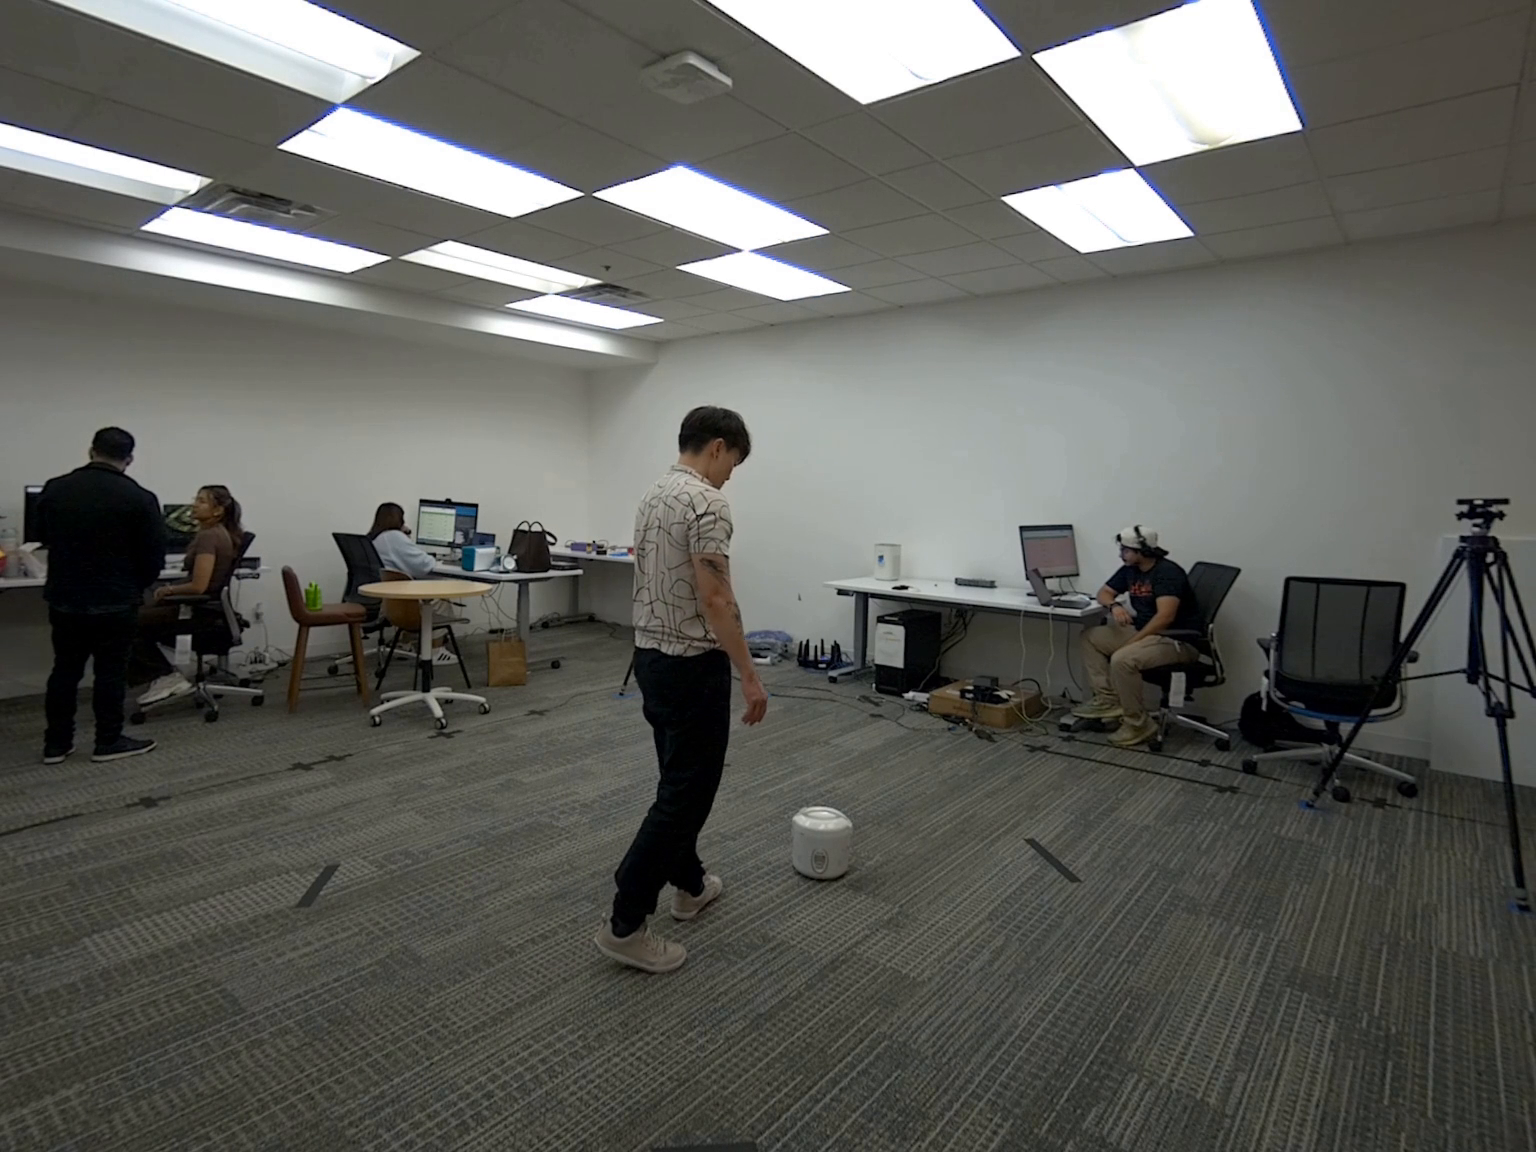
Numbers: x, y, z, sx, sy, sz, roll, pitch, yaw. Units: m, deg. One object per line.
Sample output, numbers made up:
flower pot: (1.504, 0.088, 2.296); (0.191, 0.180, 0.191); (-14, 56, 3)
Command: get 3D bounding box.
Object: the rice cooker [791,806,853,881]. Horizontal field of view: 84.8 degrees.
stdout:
rice cooker: (0.188, 0.959, 3.118); (0.223, 0.232, 0.216); (2, 3, 7)
